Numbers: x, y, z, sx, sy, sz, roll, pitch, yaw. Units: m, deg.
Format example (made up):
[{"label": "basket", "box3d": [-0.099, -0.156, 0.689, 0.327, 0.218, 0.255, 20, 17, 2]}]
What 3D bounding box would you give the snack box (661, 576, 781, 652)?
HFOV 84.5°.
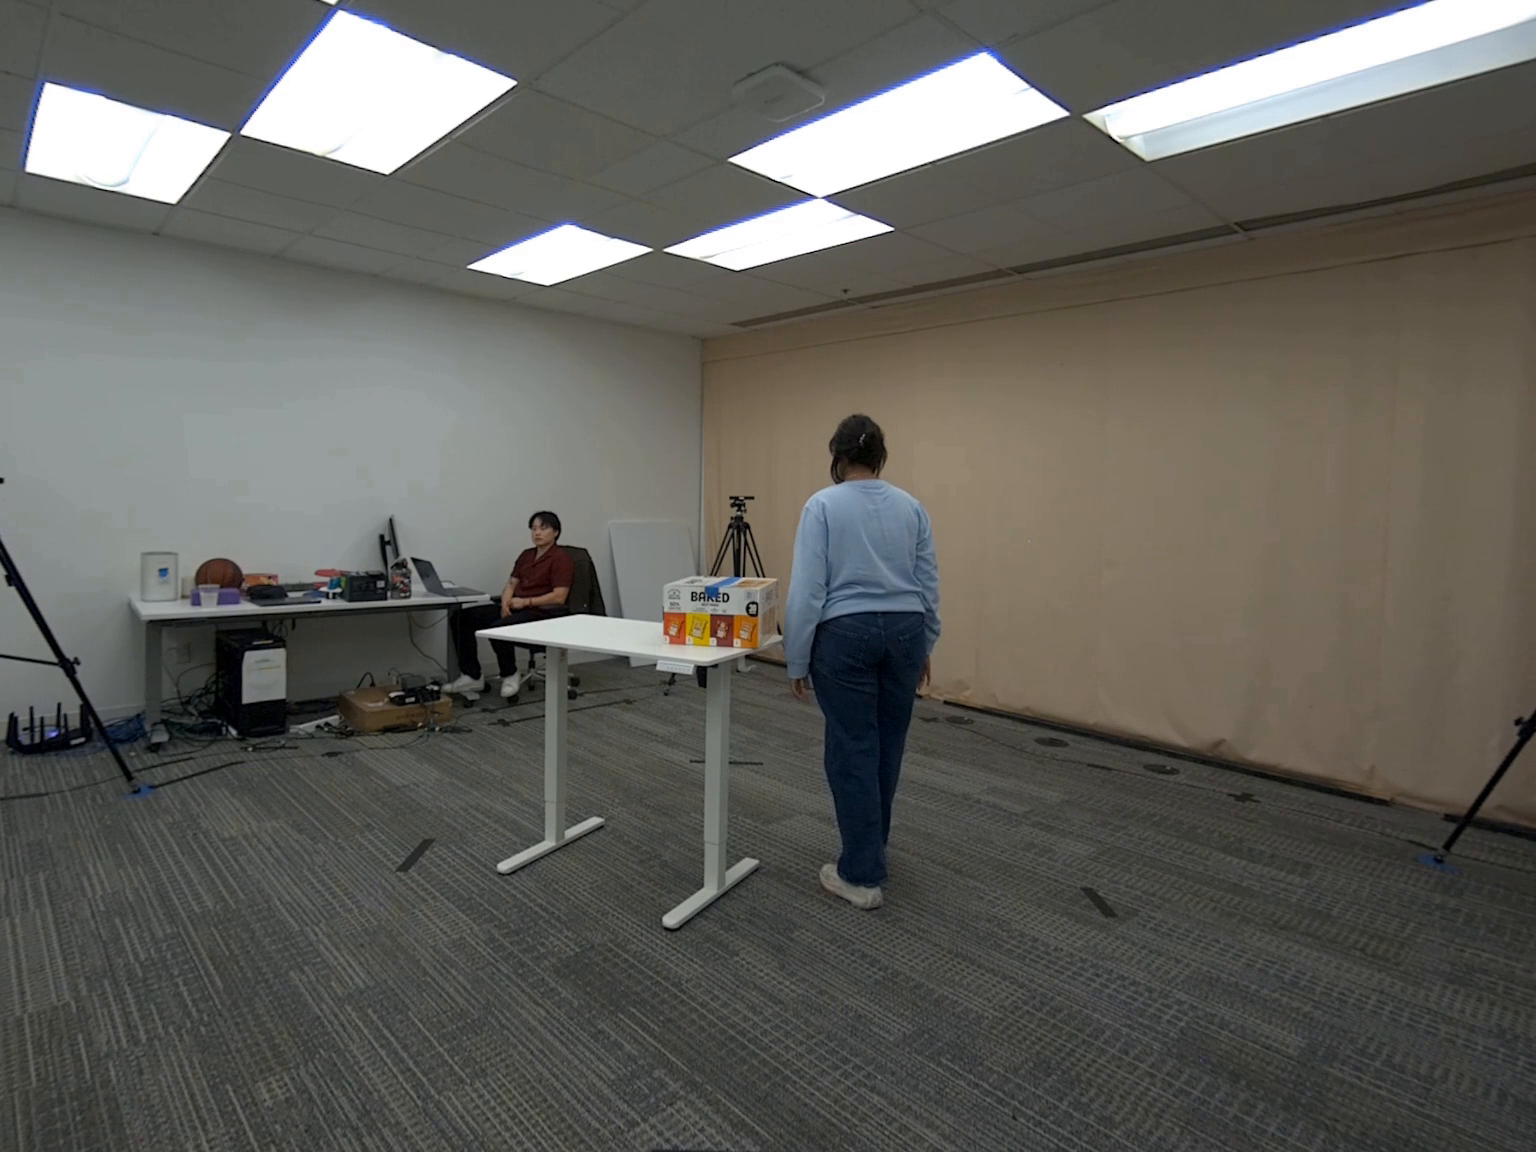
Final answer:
[{"label": "snack box", "box3d": [-0.160, 0.125, 3.056, 0.344, 0.205, 0.402, 2, 5, 11]}]
